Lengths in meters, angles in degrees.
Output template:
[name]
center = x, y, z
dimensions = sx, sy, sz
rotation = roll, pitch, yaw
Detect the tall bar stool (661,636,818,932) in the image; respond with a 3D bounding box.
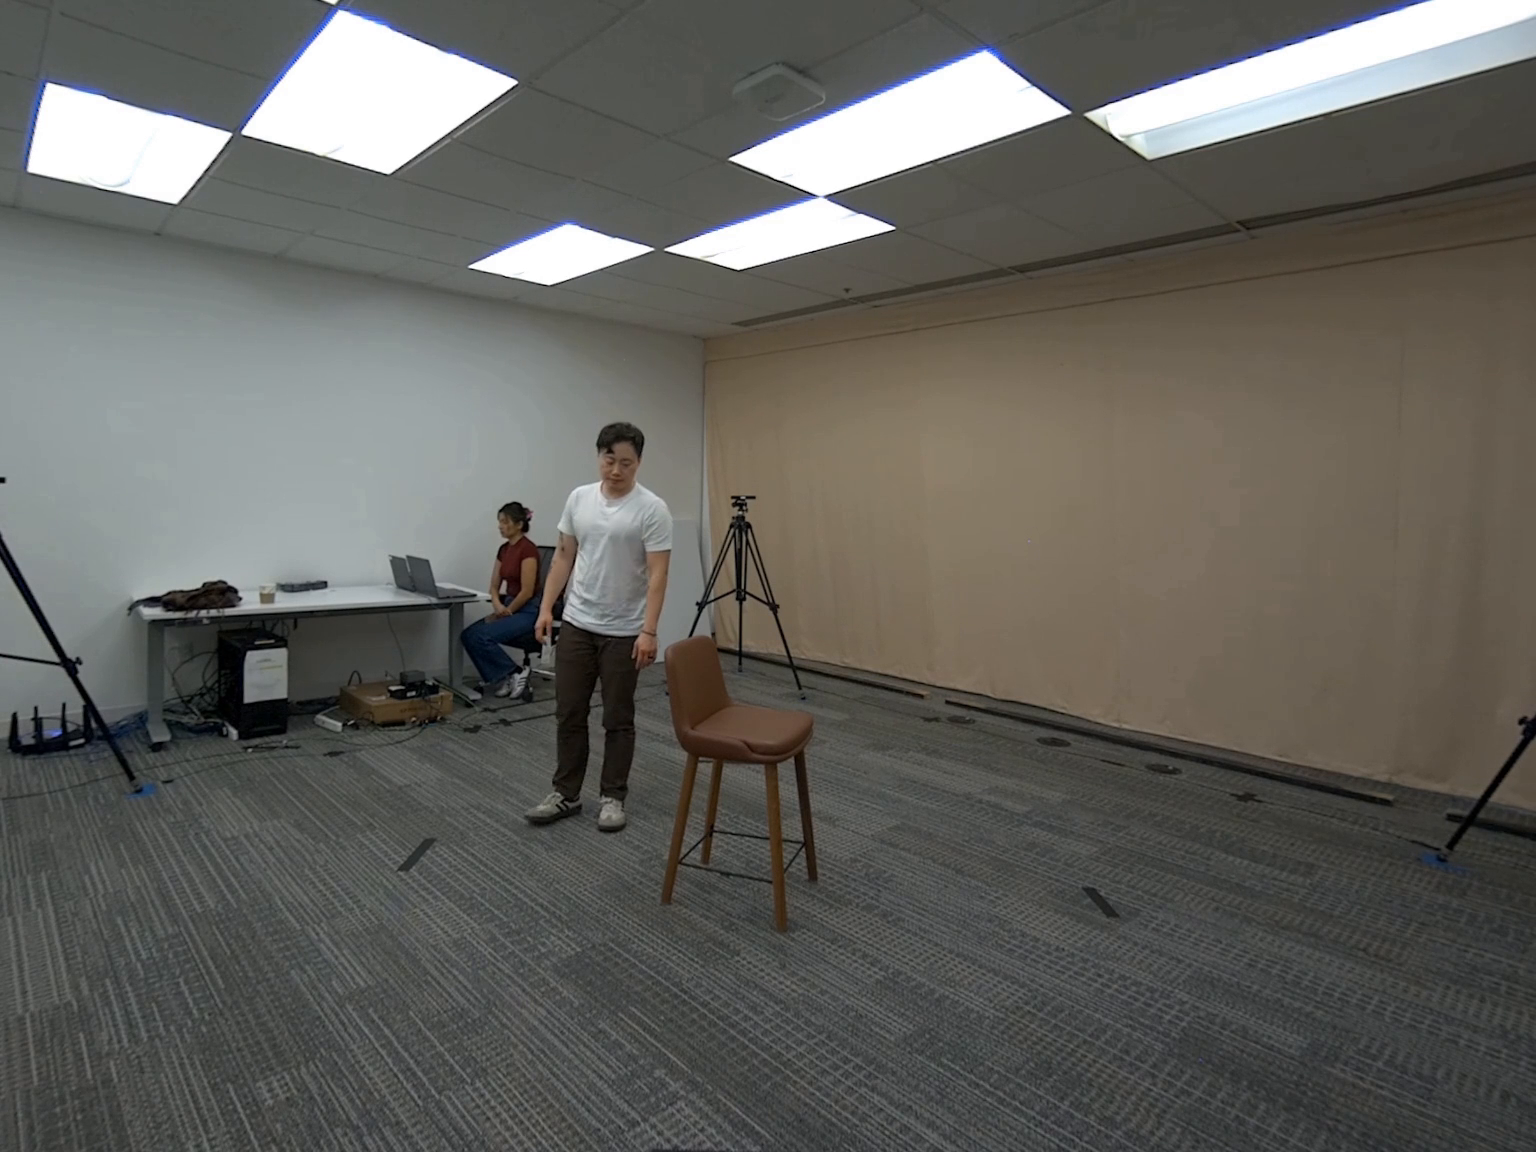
[tall bar stool]
center = -0.097, 0.685, 2.942
dimensions = 0.475, 0.888, 0.450
rotation = 1, 3, 21
